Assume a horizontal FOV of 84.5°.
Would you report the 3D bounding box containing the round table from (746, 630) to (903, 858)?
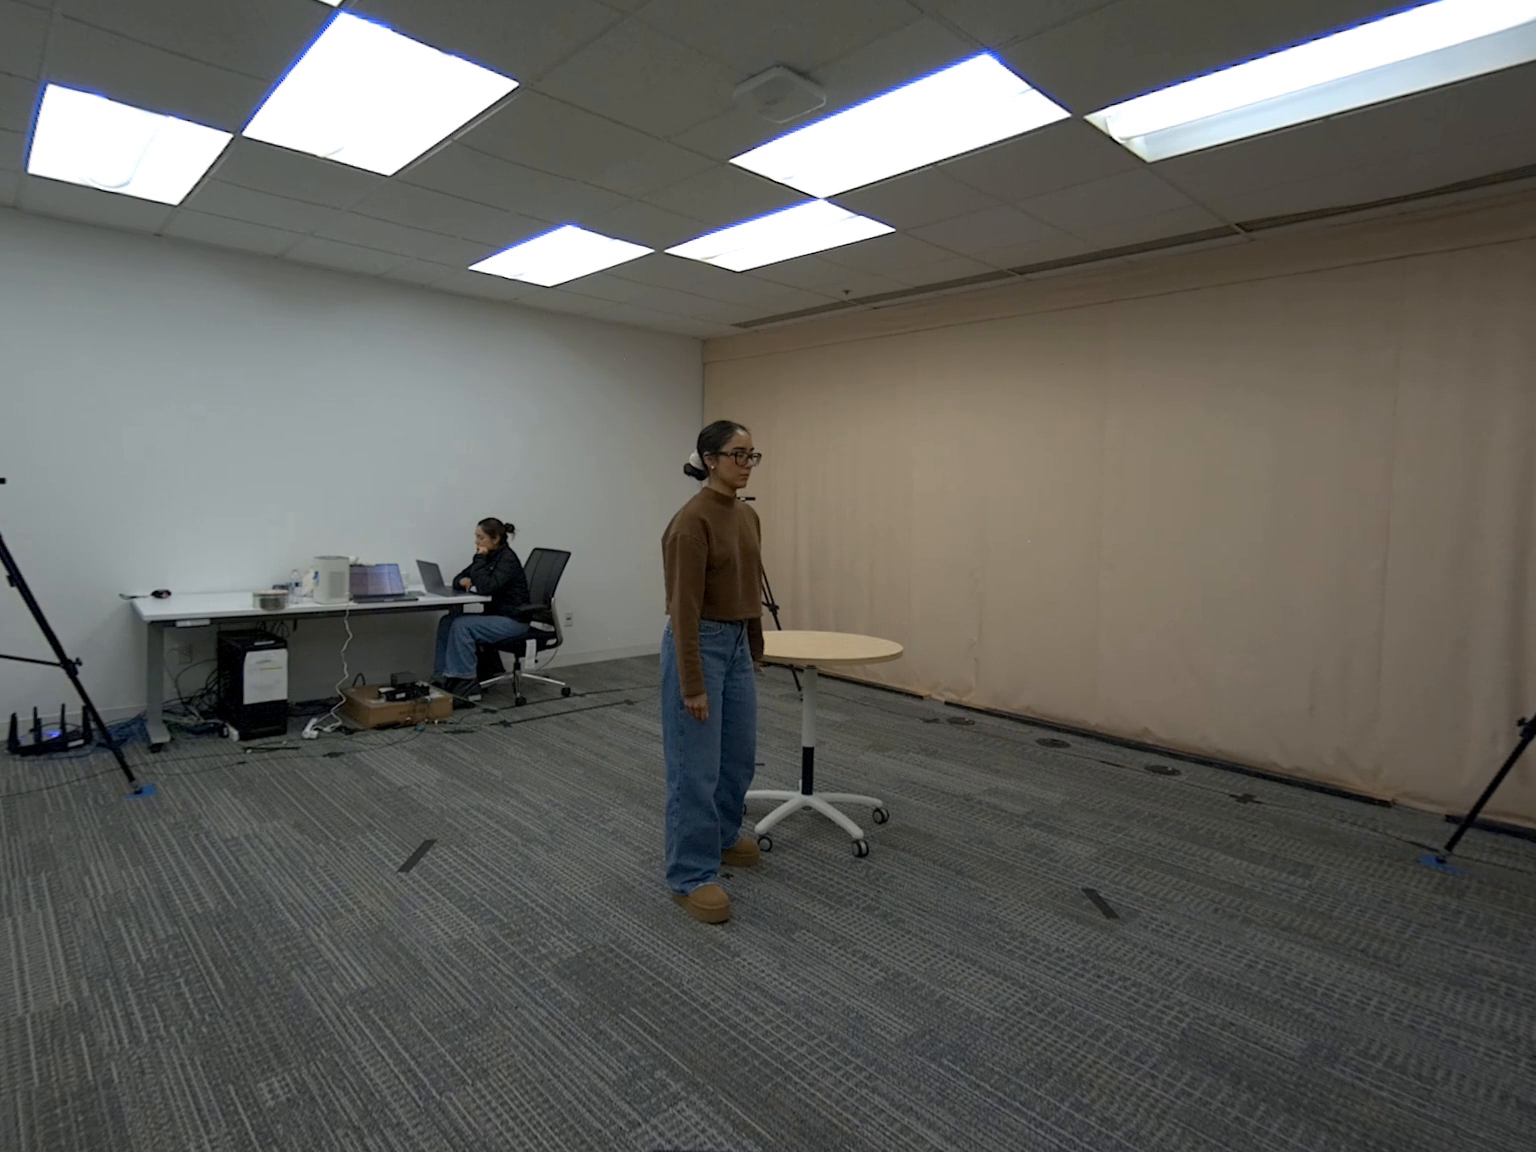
[{"bbox_3d":[0.174,0.679,3.571,0.784,0.785,0.787,1,3,-1],"label":"round table"}]
